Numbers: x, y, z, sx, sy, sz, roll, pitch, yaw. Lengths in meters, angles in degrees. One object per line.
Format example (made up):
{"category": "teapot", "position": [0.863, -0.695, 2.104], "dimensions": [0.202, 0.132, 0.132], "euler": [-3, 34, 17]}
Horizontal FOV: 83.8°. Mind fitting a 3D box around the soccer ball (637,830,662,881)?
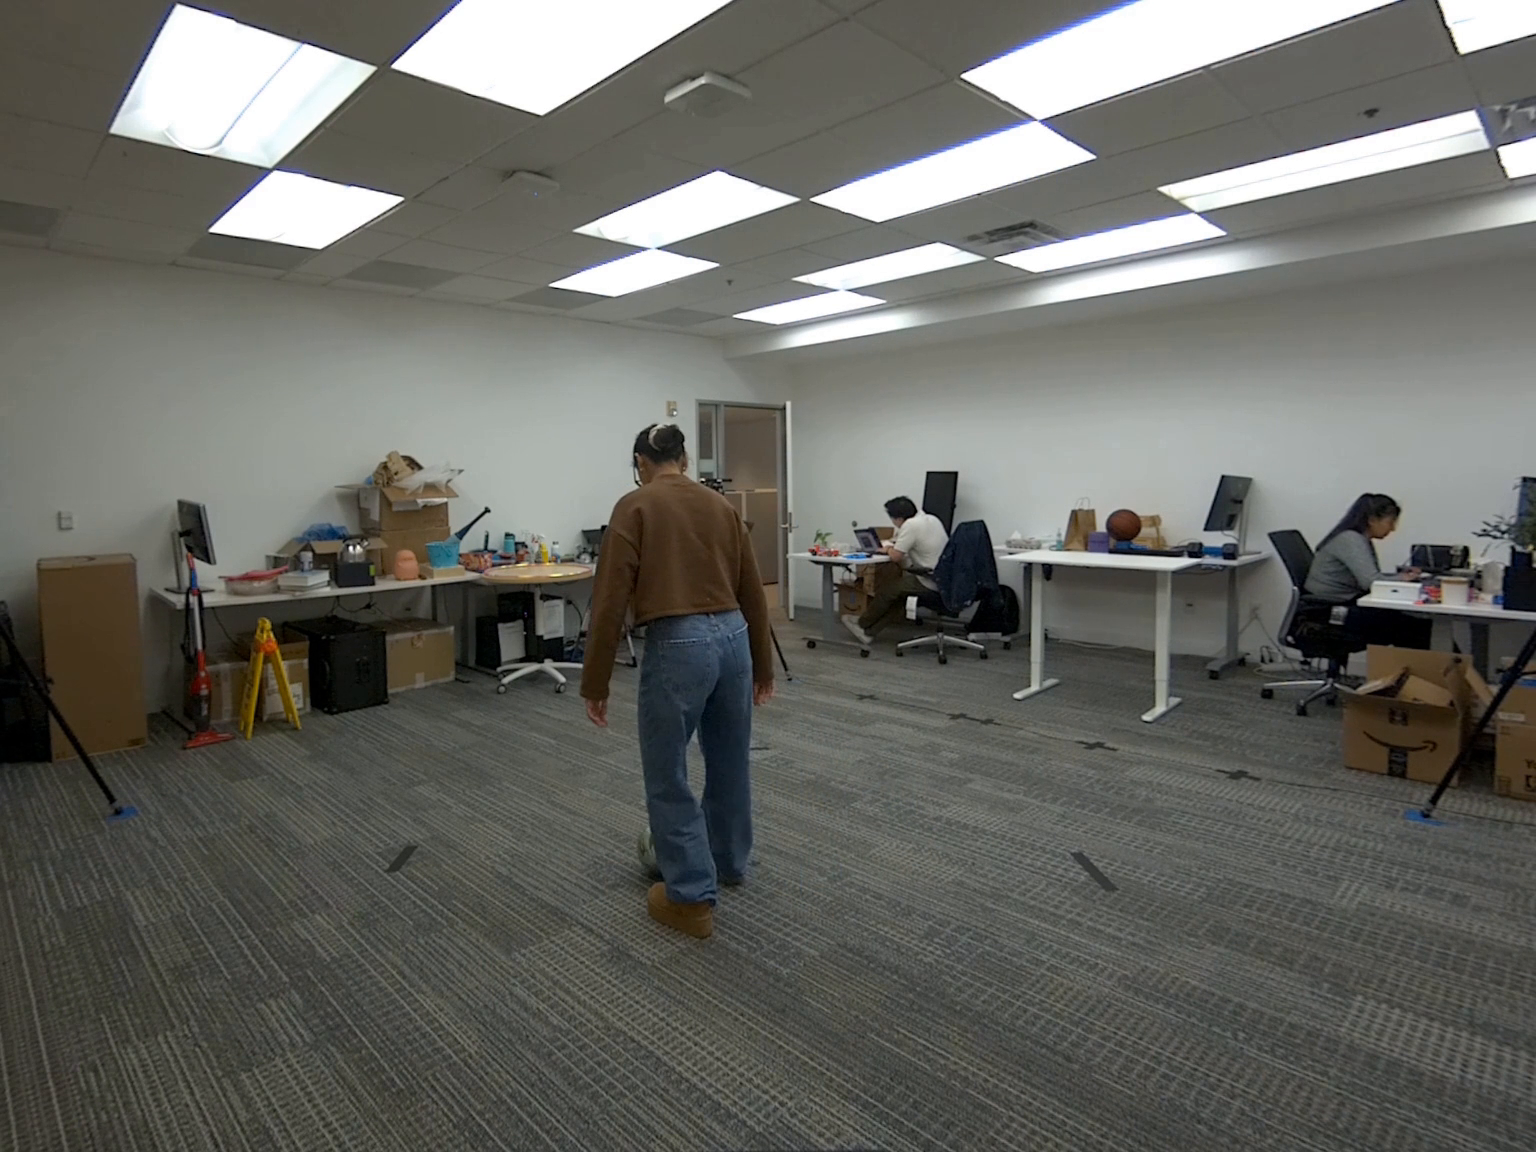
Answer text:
{"category": "soccer ball", "position": [-0.359, 0.963, 3.036], "dimensions": [0.187, 0.187, 0.188], "euler": [-1, 5, -2]}
